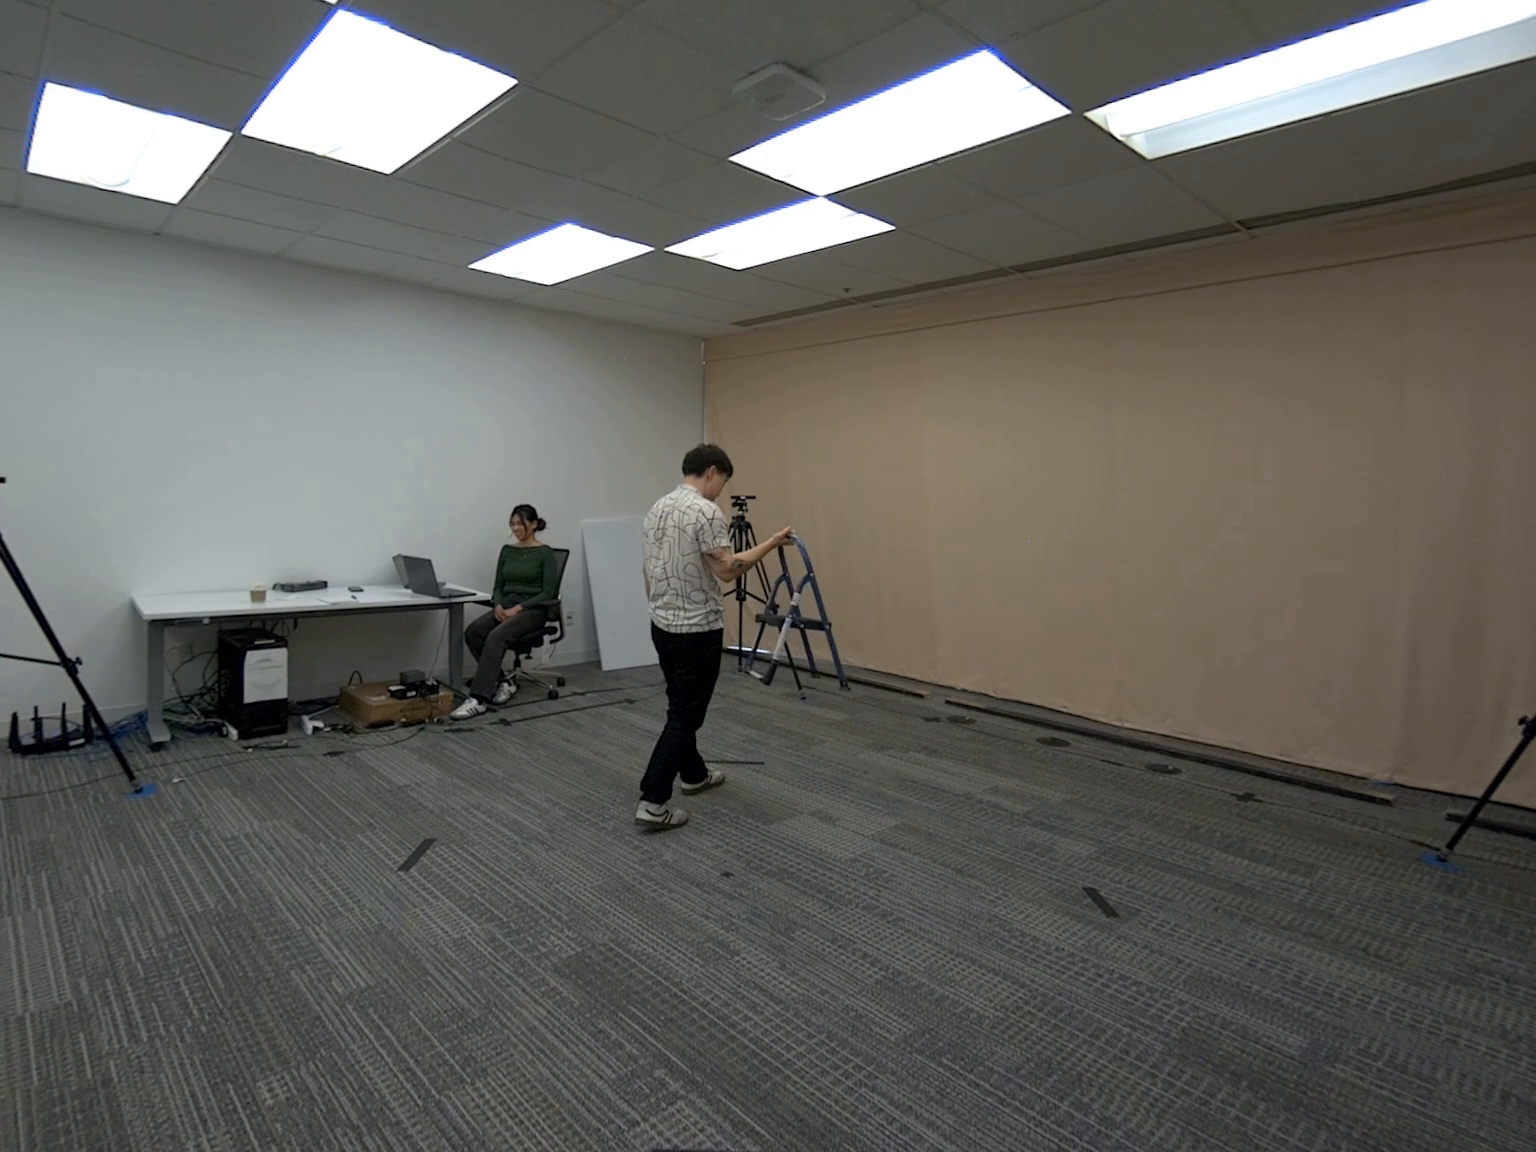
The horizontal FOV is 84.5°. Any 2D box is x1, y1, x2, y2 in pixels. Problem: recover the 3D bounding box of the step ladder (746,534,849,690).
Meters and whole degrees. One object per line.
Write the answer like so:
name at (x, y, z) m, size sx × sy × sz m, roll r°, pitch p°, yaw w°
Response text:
step ladder at (0.121, 0.128, 3.486) m, size 0.345 × 0.607 × 0.434 m, roll 5°, pitch -2°, yaw -13°
